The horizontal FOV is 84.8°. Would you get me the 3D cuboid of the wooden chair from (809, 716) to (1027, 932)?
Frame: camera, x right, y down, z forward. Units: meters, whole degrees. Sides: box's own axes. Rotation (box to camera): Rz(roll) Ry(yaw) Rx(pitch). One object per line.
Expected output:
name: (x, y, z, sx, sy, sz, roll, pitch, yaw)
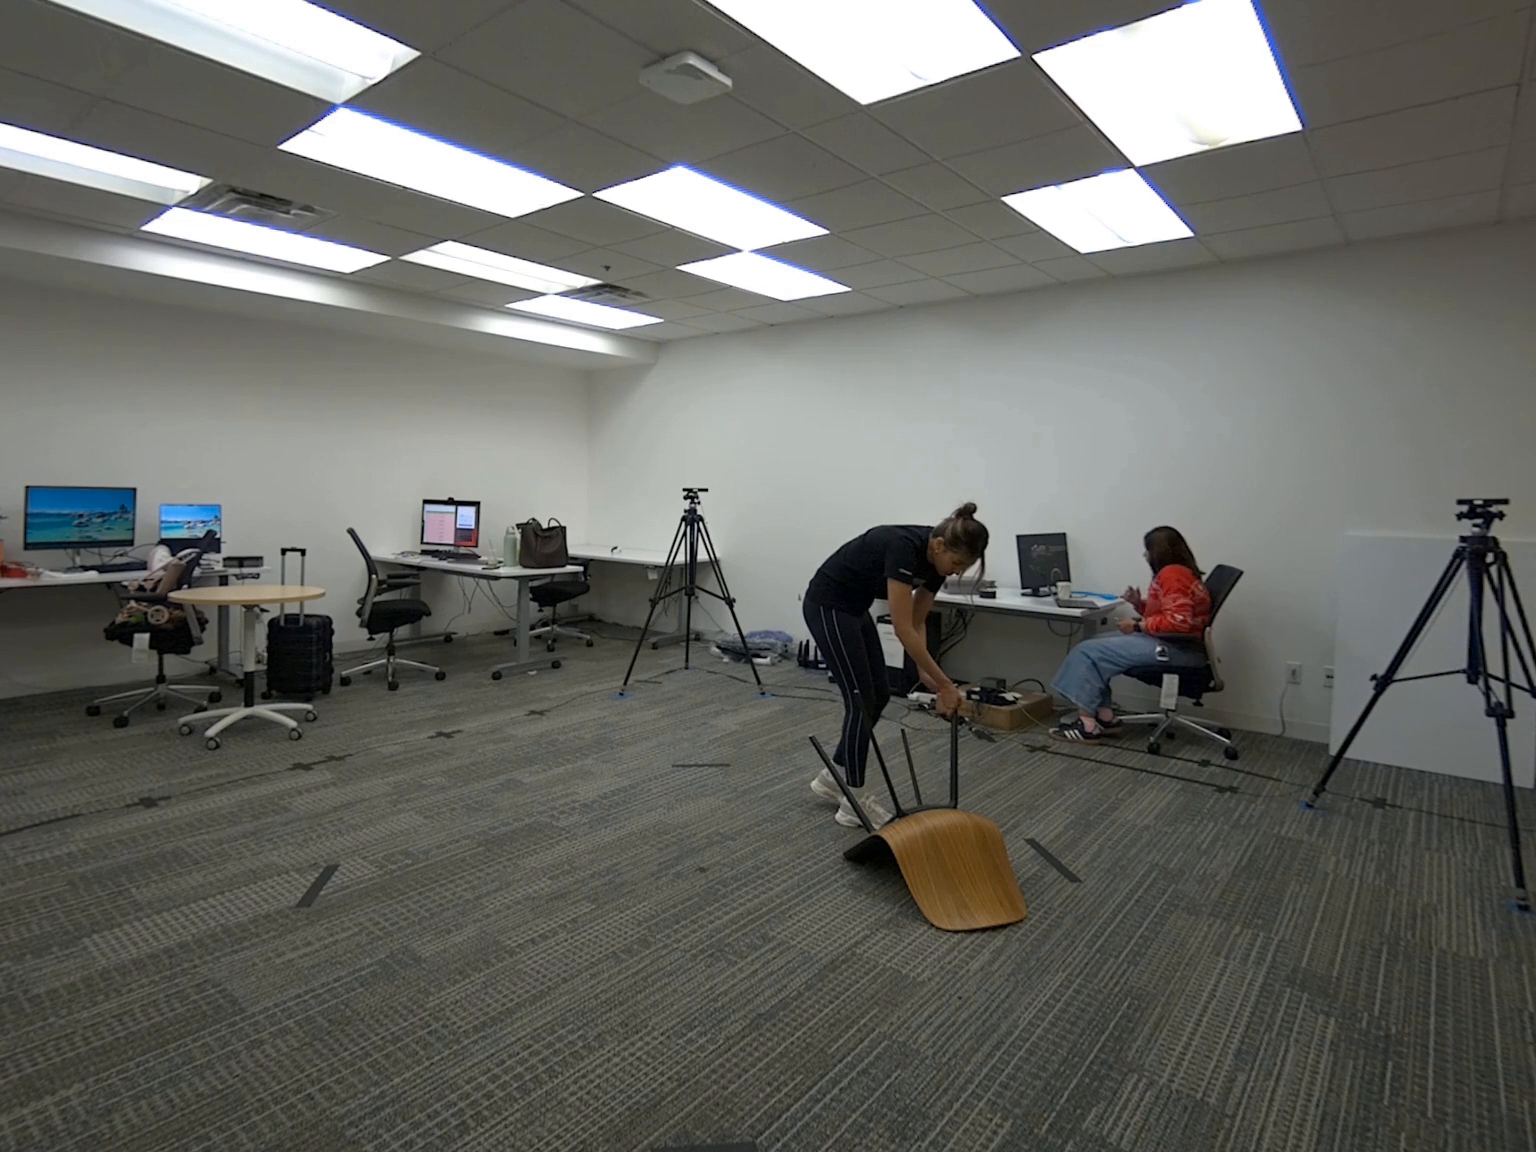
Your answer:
wooden chair: (0.532, 0.907, 3.164, 0.467, 0.907, 0.517, 0, -37, -23)
